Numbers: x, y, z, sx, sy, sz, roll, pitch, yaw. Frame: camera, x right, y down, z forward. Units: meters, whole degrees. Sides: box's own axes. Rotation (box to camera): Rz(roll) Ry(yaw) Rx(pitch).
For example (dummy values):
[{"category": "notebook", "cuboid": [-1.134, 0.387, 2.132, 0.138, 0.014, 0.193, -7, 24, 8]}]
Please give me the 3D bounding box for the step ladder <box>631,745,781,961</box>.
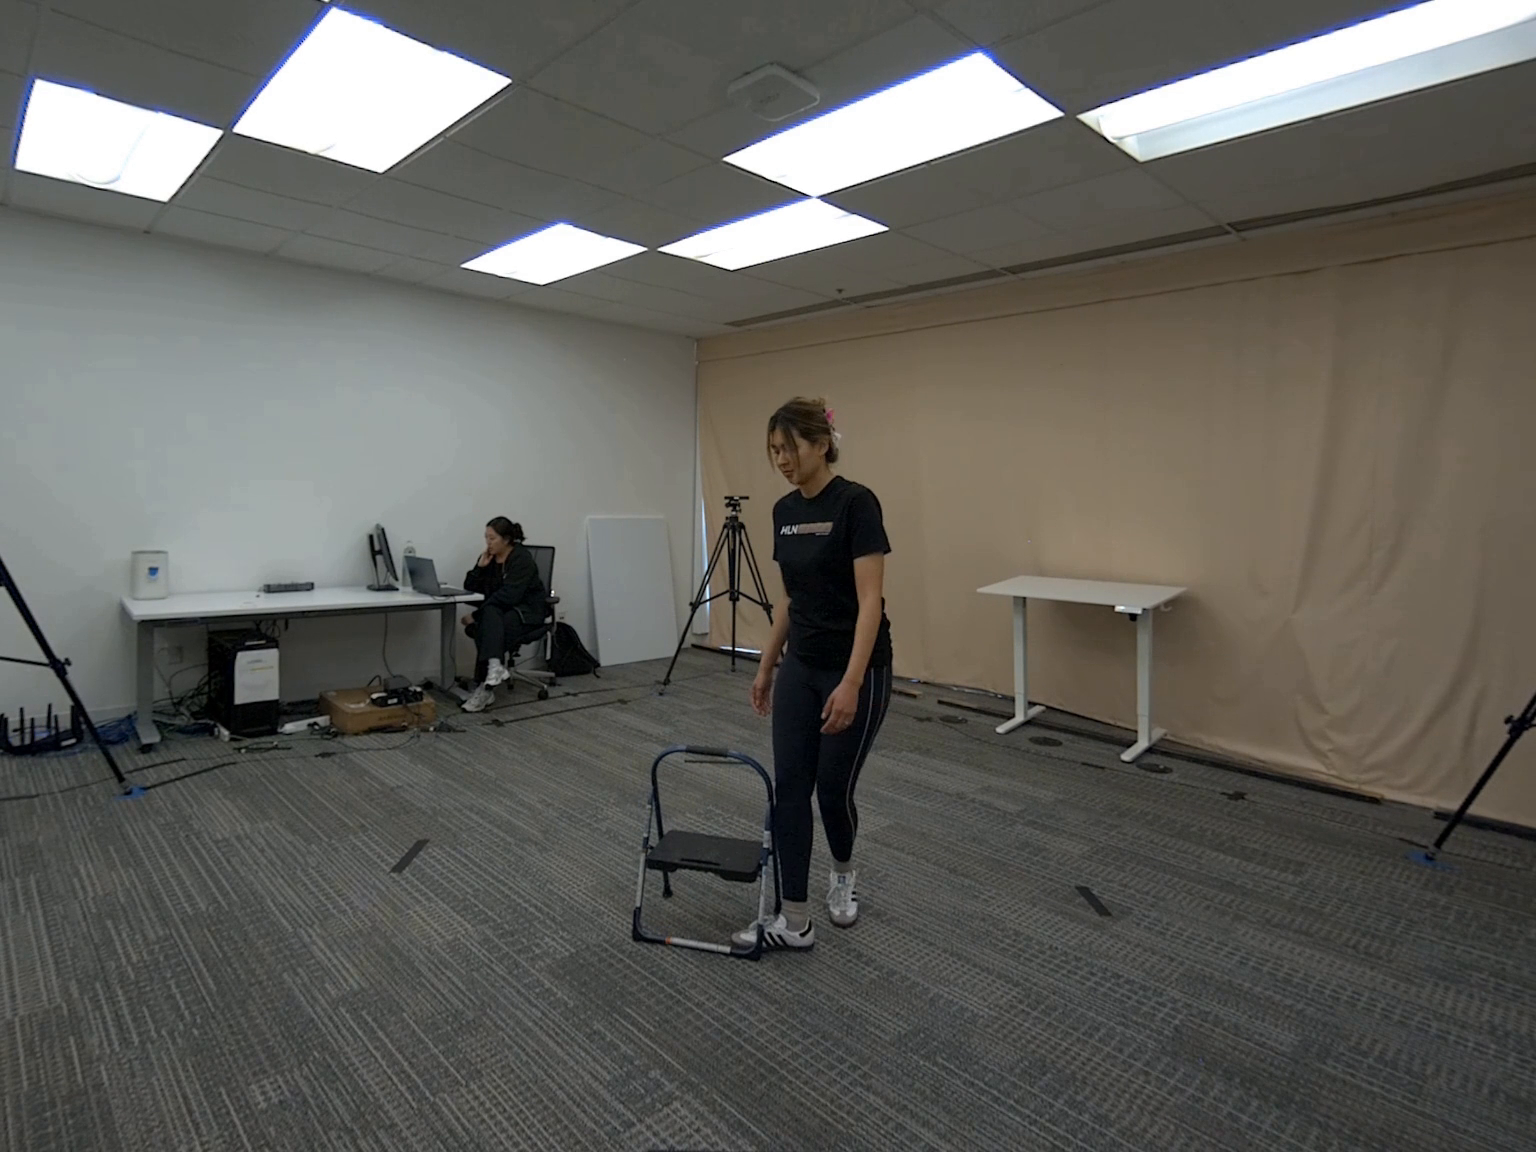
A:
[{"category": "step ladder", "cuboid": [-0.191, 0.834, 2.723, 0.435, 0.605, 0.346, 2, 3, 13]}]
